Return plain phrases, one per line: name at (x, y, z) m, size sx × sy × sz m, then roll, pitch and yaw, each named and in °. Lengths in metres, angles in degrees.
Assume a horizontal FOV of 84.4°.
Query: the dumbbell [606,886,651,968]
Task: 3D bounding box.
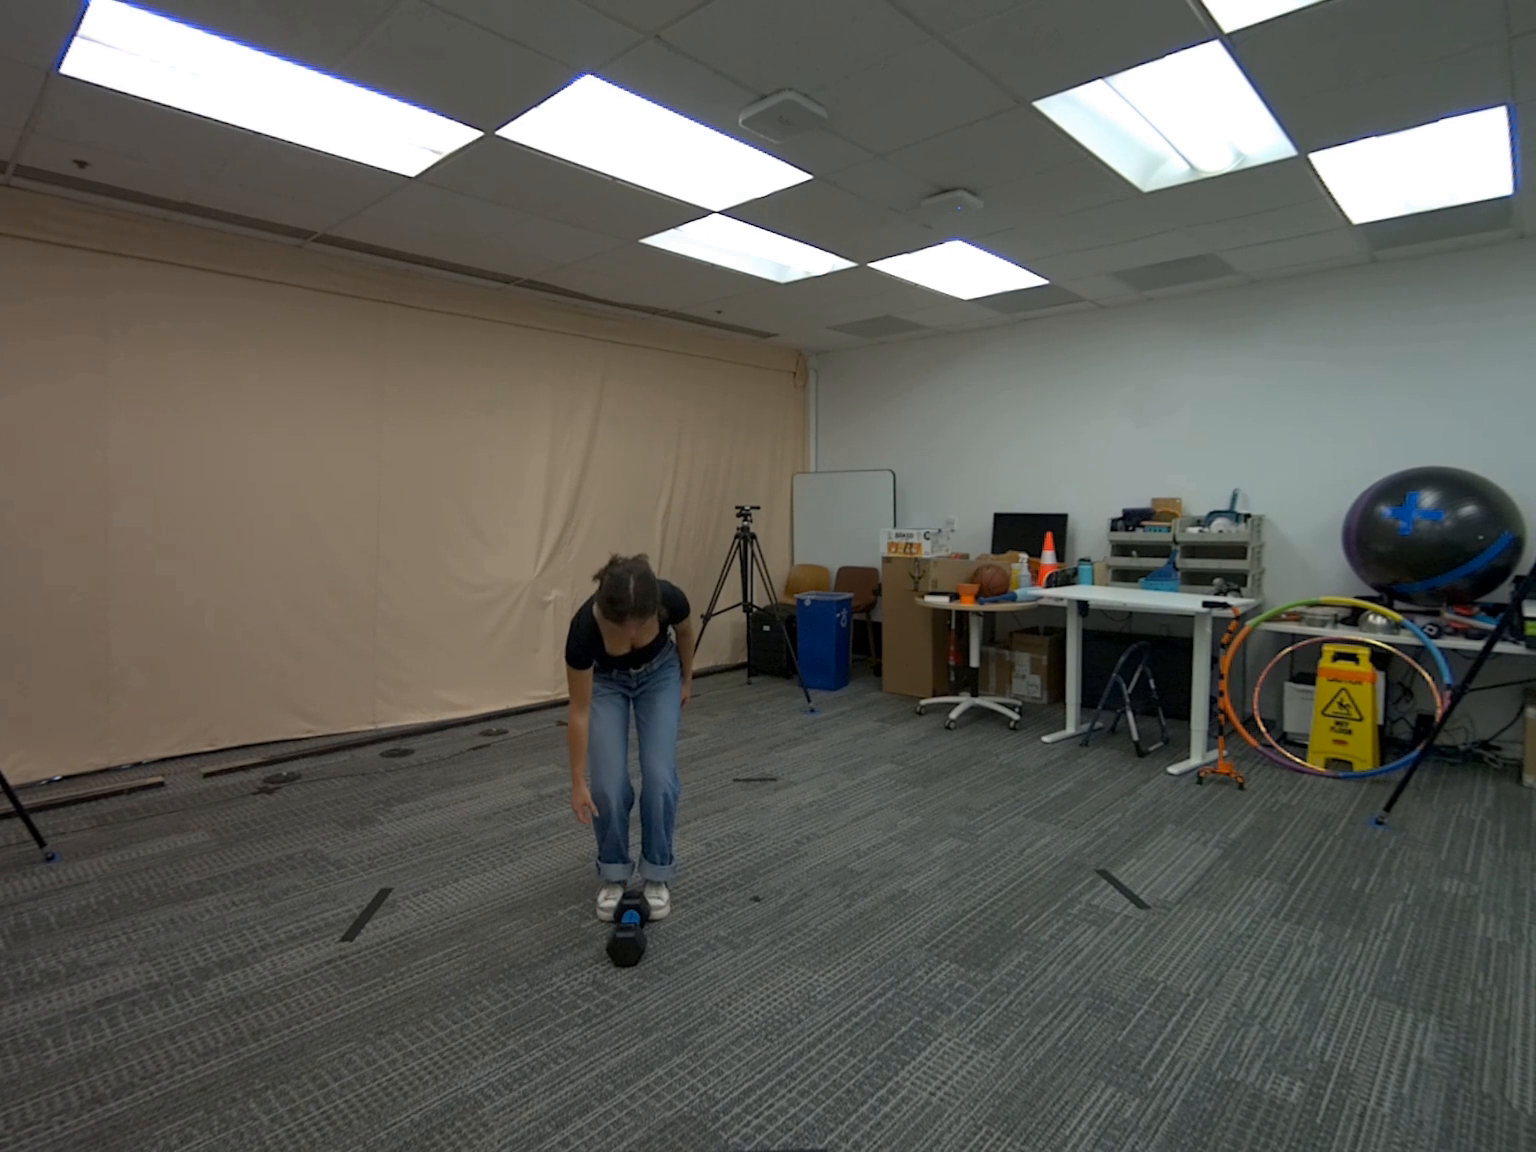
dumbbell at (-0.443, 1.111, 2.679) m, size 0.108 × 0.123 × 0.295 m, roll 29°, pitch 2°, yaw -7°
